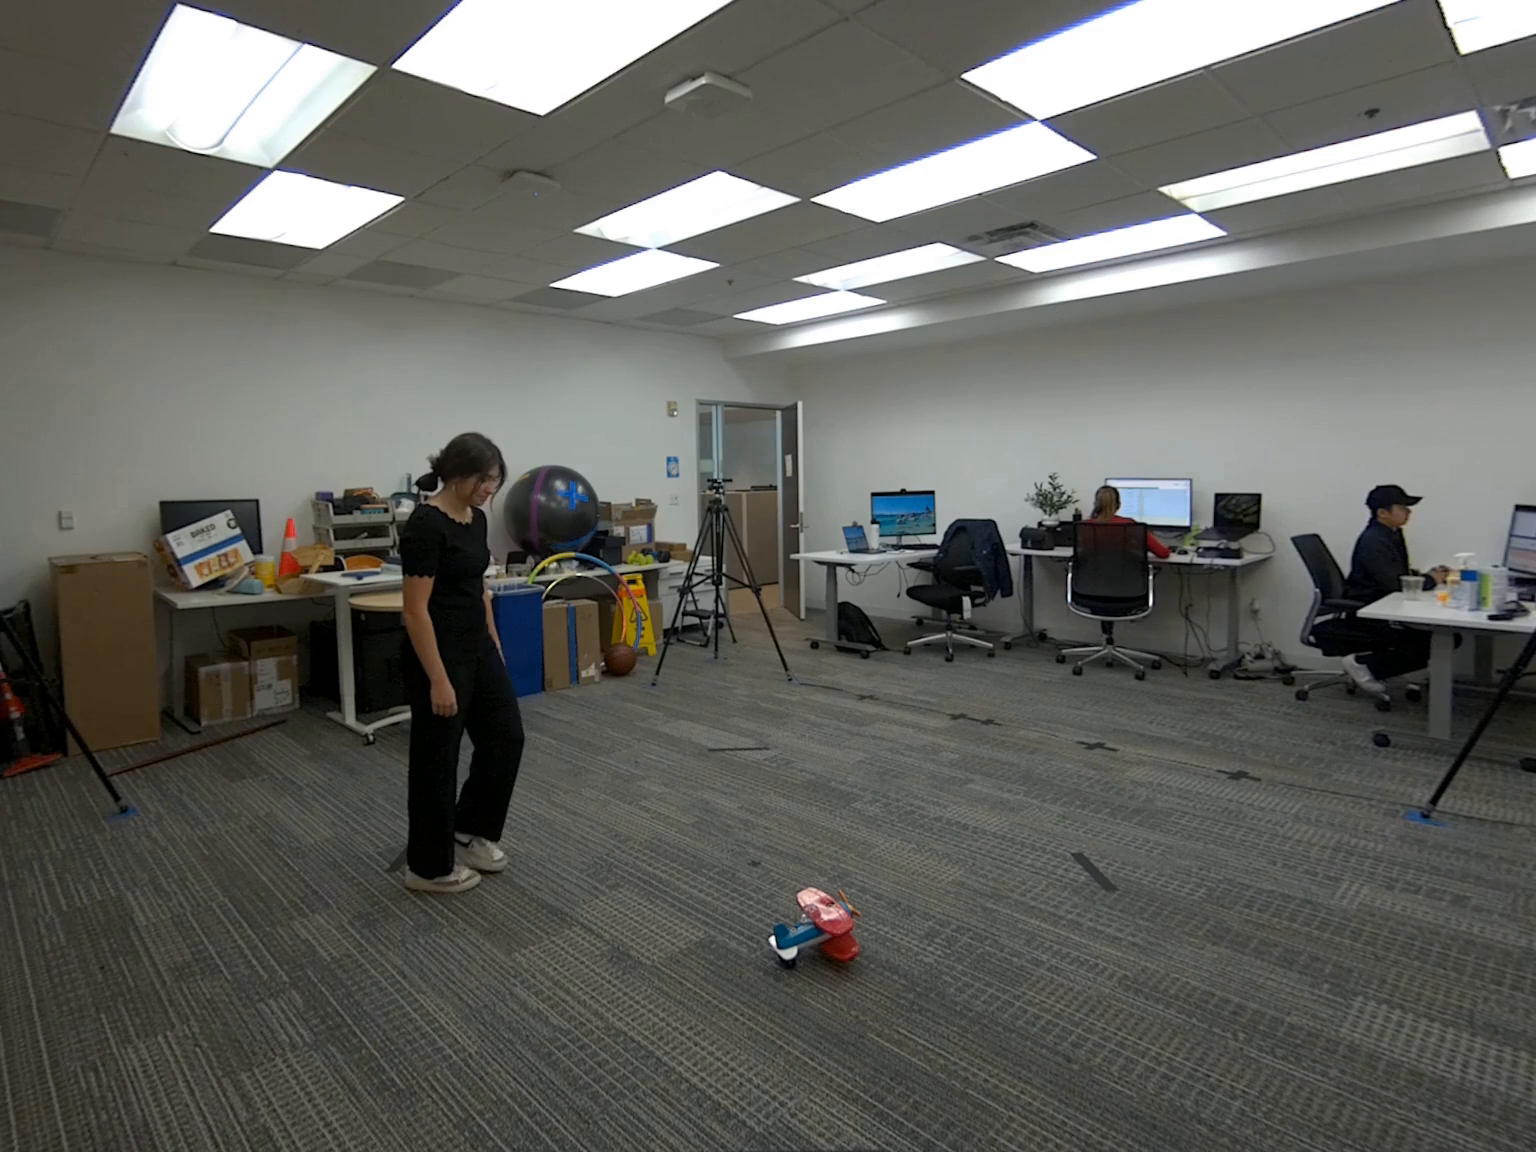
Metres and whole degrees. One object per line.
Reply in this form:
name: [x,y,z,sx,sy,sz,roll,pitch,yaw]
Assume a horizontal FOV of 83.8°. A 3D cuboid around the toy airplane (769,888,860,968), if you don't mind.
toy airplane: [0.152,1.038,2.471,0.259,0.156,0.253,5,8,38]
